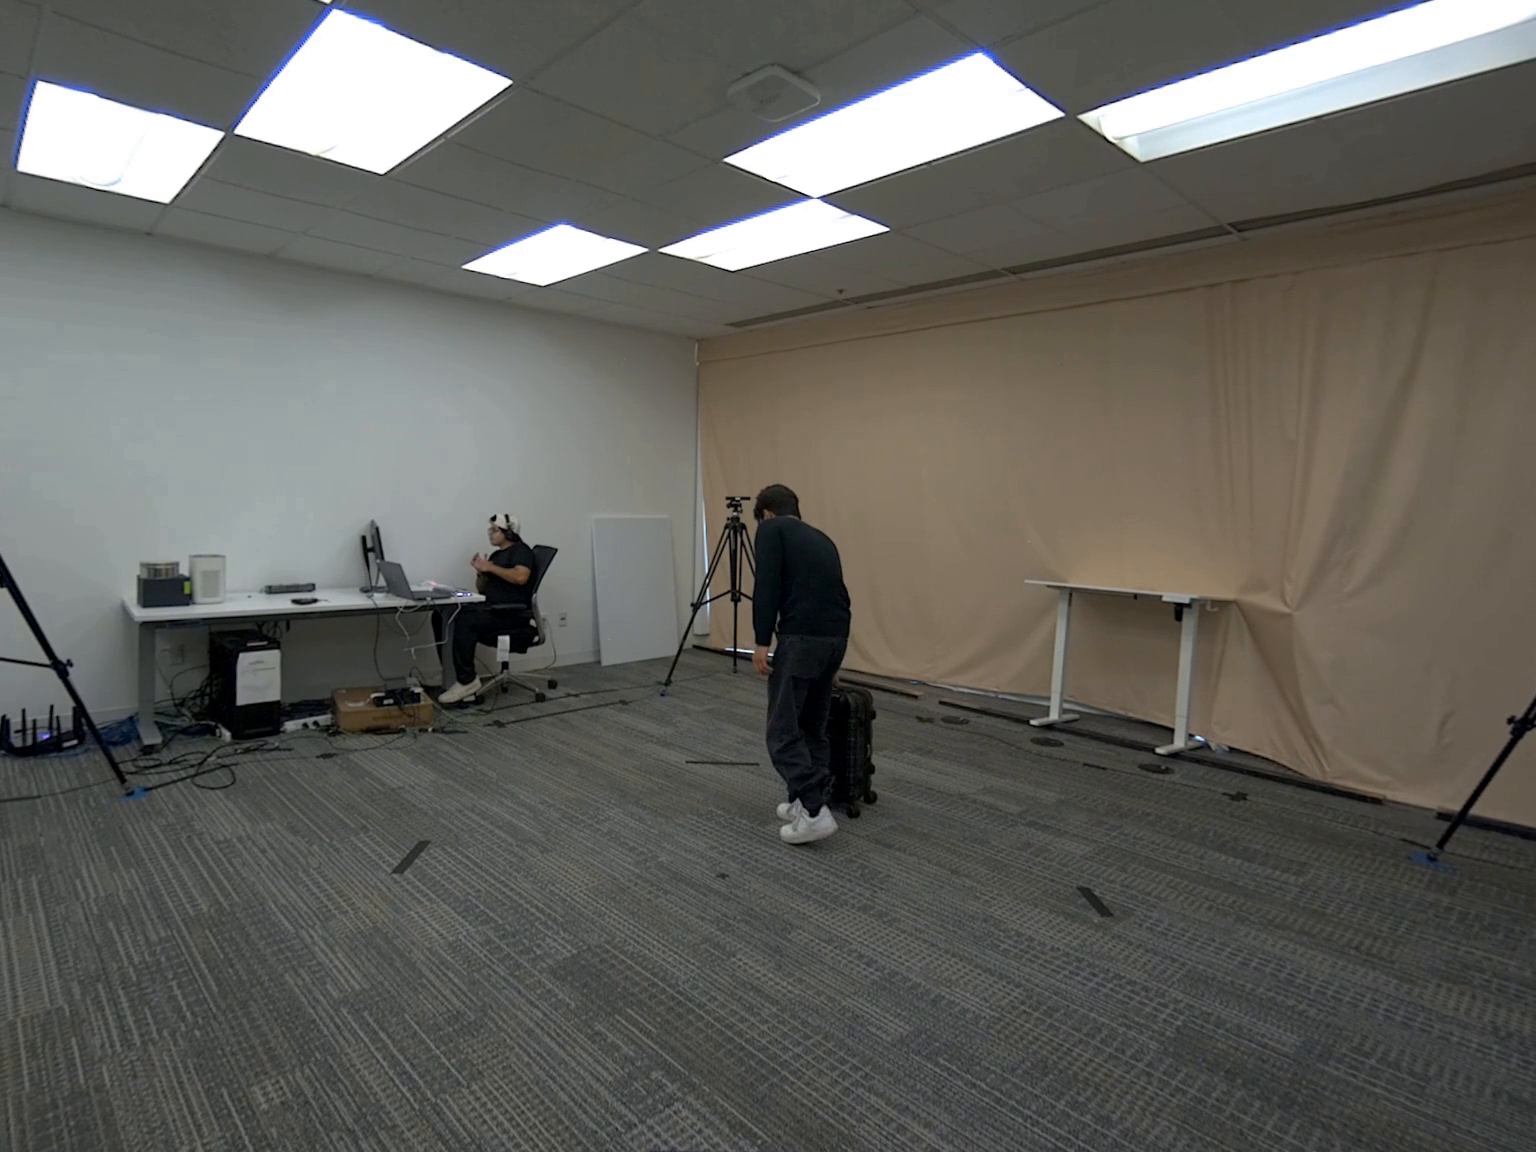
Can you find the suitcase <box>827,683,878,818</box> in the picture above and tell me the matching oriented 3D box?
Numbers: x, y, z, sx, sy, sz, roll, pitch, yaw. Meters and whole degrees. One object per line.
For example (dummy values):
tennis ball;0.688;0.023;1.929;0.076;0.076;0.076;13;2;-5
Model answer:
suitcase;0.282;0.774;3.899;0.383;0.549;0.243;2;2;29
